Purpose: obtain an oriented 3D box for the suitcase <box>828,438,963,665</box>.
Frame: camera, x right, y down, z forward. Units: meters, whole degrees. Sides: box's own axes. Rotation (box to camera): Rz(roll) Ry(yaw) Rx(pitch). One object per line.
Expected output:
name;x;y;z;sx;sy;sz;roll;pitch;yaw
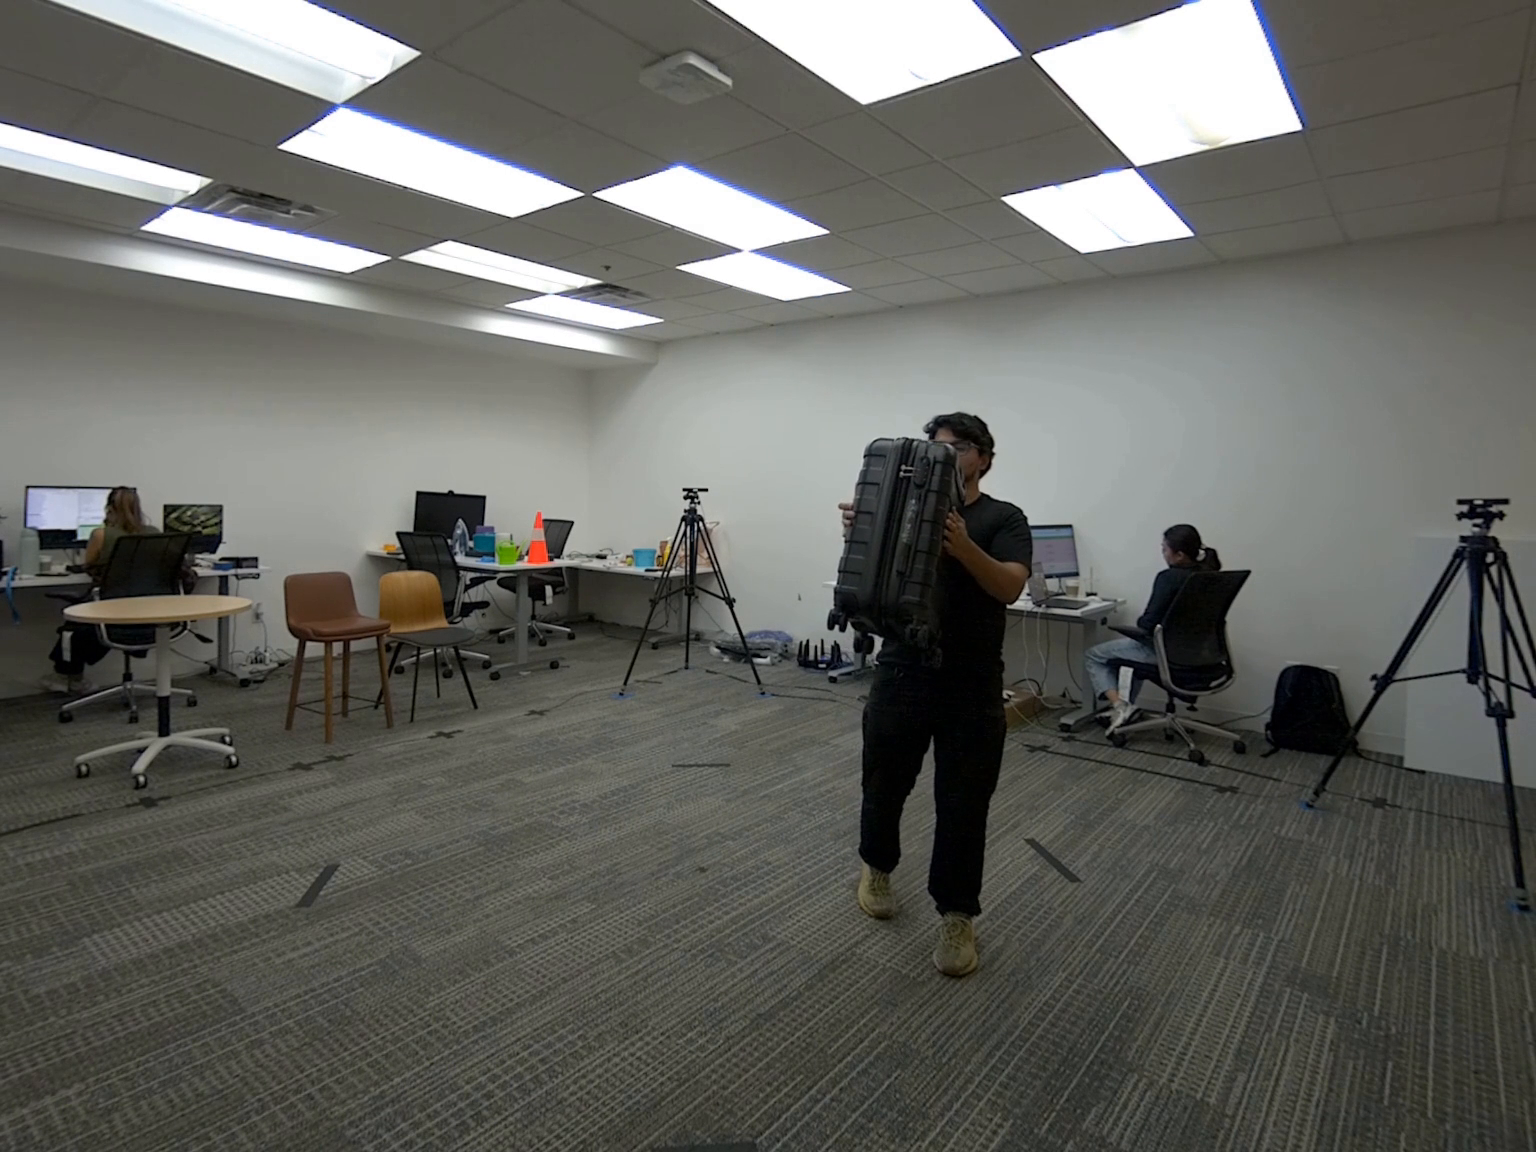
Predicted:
suitcase;0.352;-0.077;2.284;0.255;0.554;0.362;8;-14;22
